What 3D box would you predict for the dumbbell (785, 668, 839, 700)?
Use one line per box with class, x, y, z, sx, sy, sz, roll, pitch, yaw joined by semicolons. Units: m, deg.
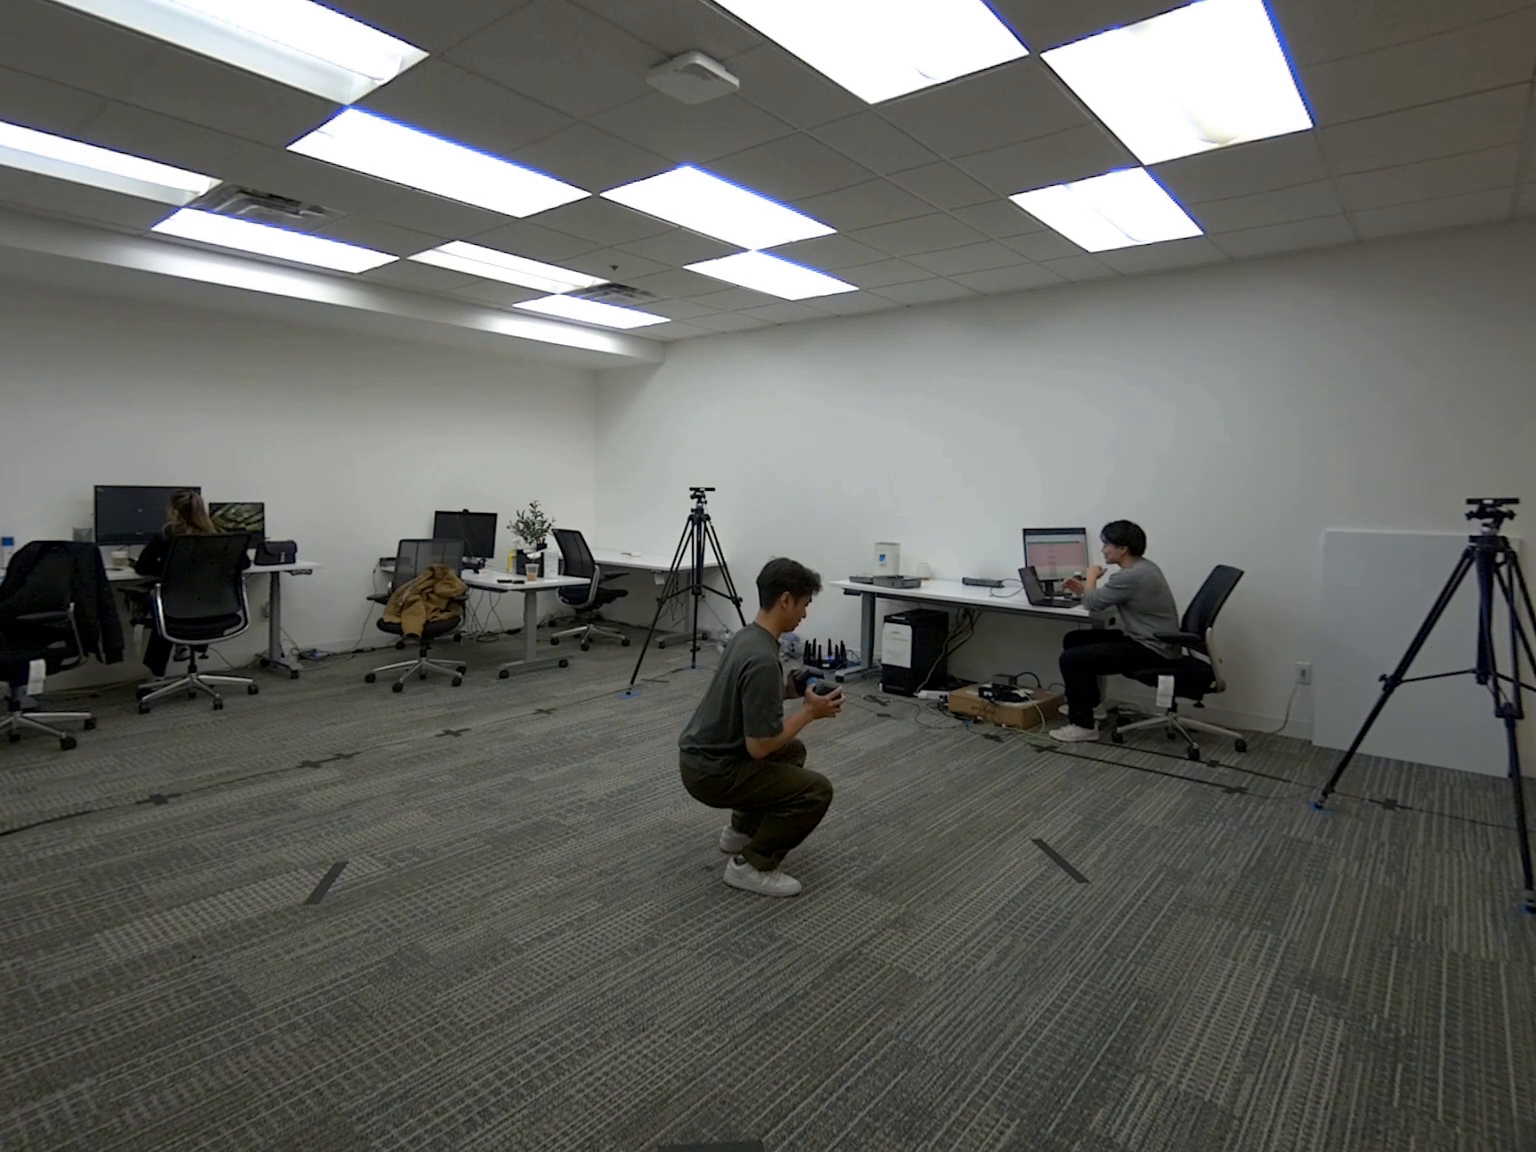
dumbbell;0.171;0.412;3.143;0.123;0.107;0.298;-43;13;-3
